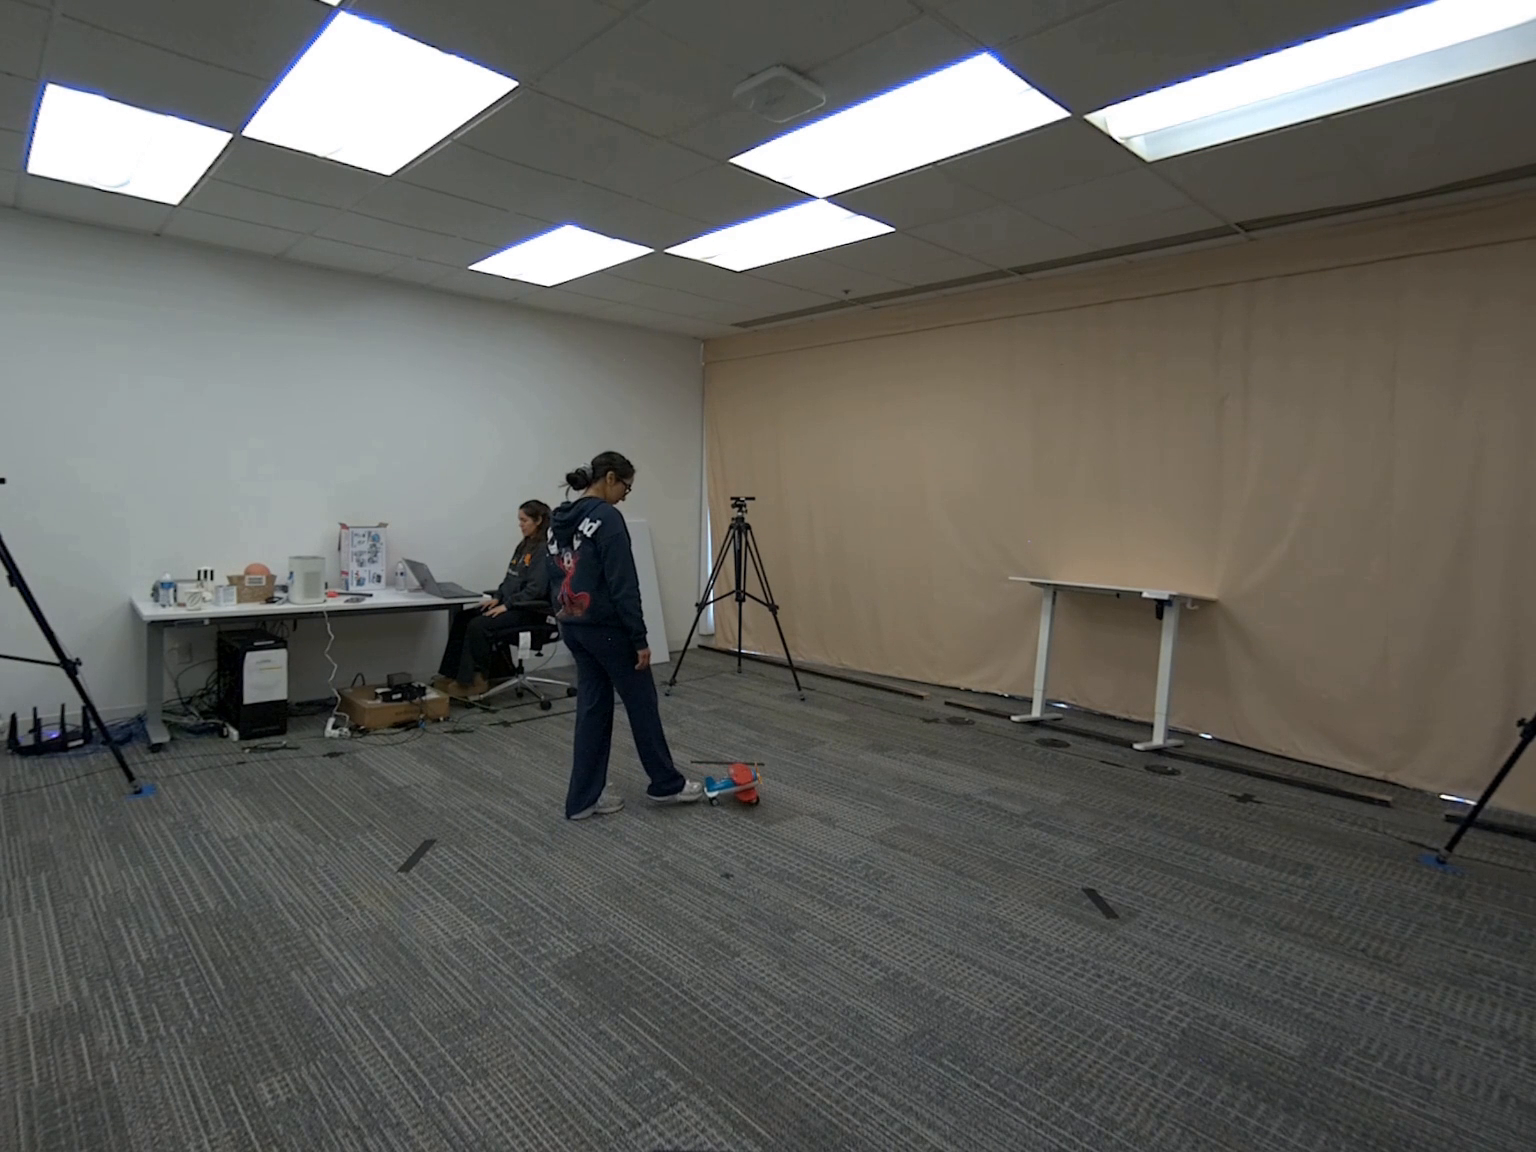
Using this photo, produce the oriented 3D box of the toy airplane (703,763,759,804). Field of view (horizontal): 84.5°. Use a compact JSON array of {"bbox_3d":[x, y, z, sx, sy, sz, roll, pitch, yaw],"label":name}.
[{"bbox_3d":[-0.173,0.968,3.842,0.253,0.156,0.257,-1,4,-43],"label":"toy airplane"}]
